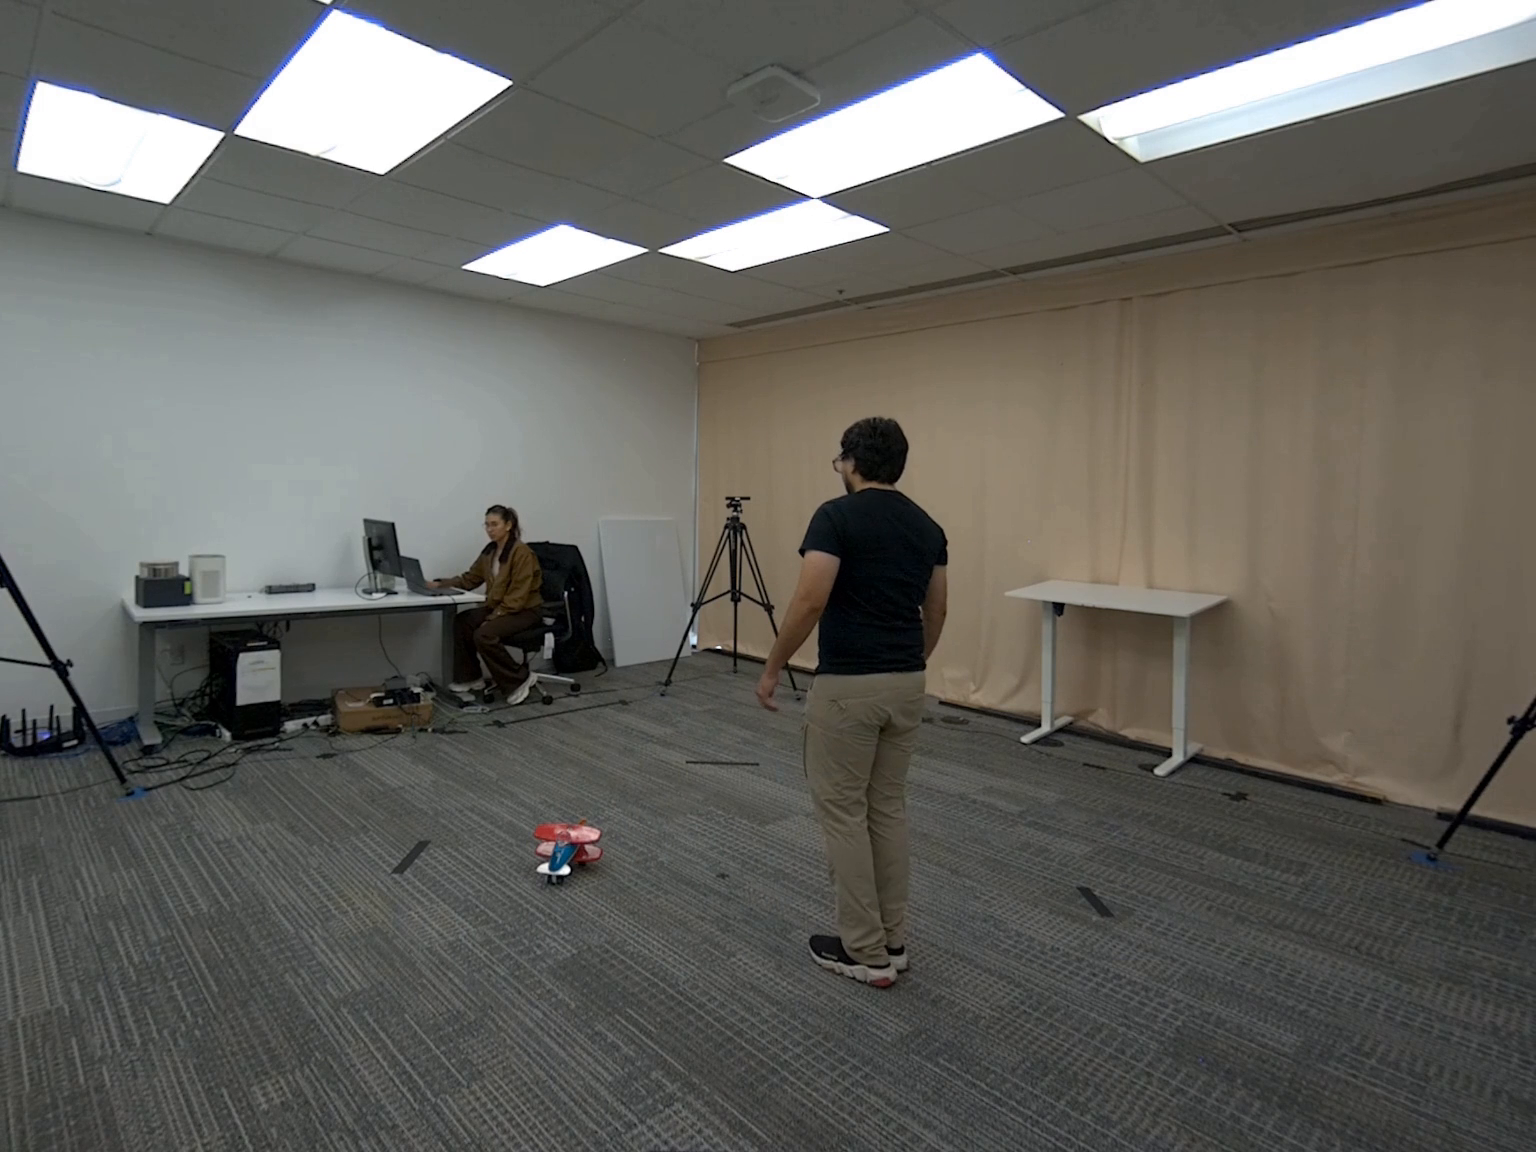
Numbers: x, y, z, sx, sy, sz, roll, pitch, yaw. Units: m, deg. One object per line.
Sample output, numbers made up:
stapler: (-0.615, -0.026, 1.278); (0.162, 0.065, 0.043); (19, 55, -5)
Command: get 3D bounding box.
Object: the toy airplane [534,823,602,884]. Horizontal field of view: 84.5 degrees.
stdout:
toy airplane: (-0.735, 1.020, 3.094); (0.247, 0.156, 0.263); (0, 3, -21)
